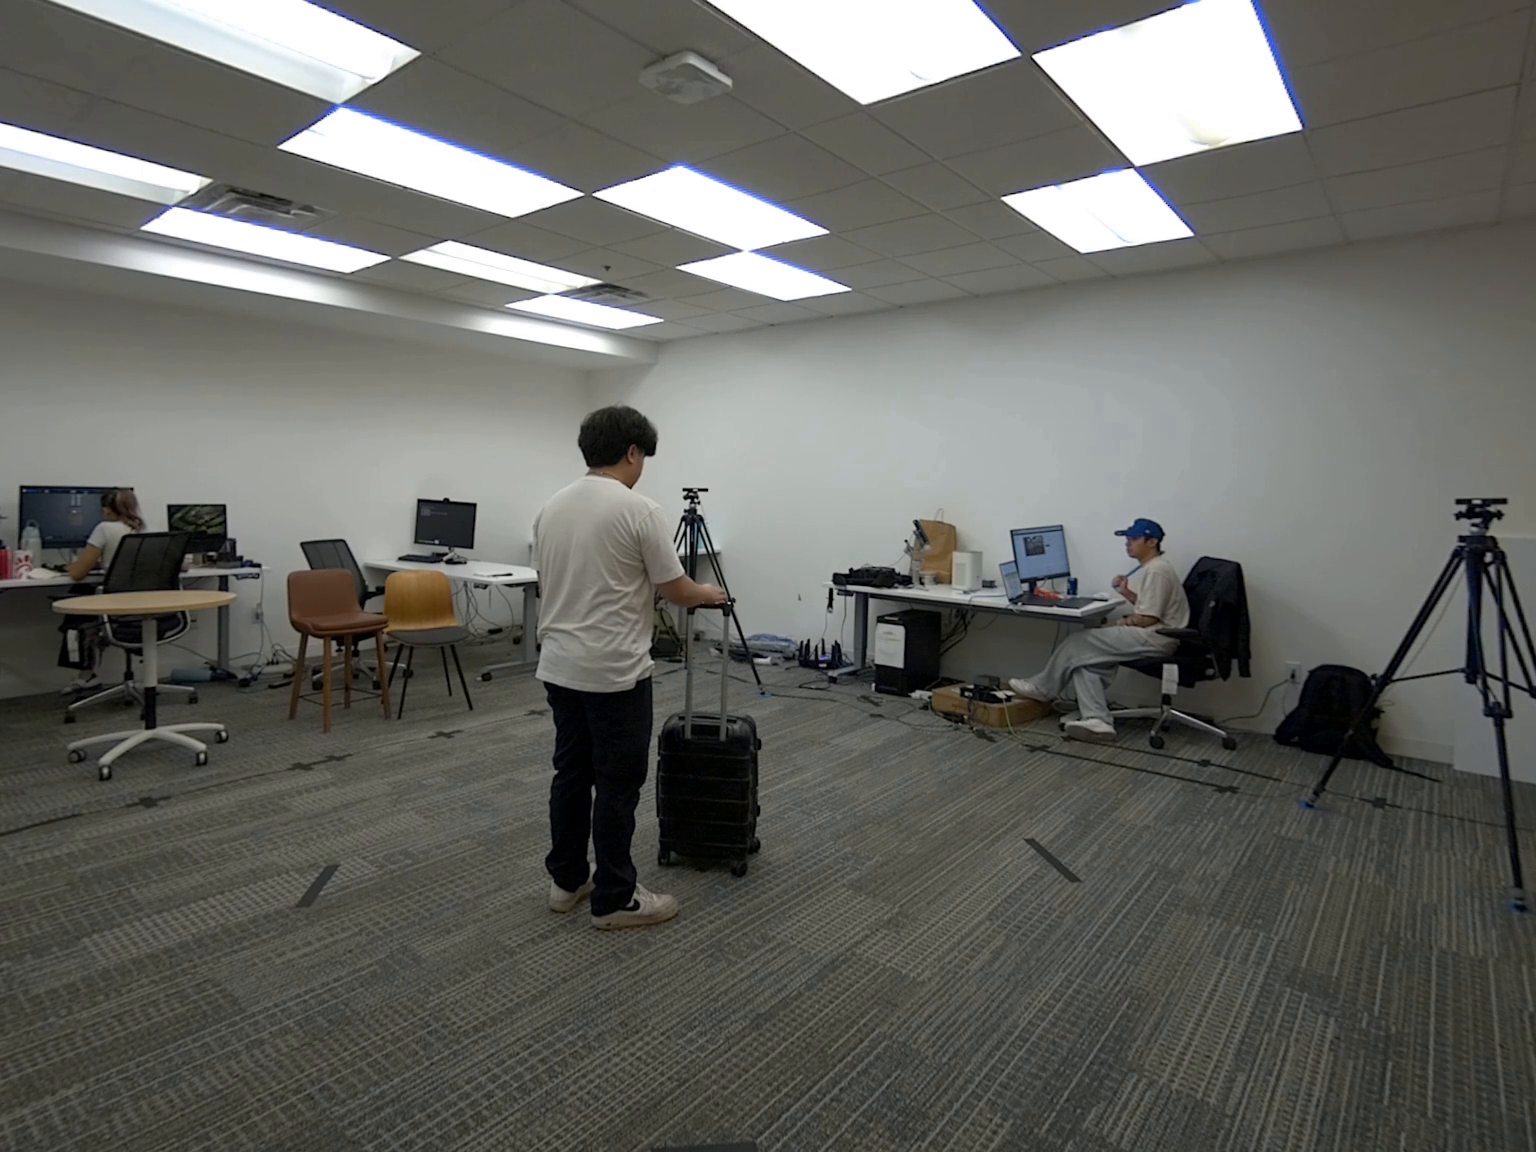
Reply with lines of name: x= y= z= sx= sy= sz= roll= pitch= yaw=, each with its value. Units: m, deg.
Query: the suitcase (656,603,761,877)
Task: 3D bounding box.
suitcase: x=-0.230 y=0.587 z=3.192 sx=0.388 sy=0.977 sz=0.255 roll=1 pitch=1 yaw=8
